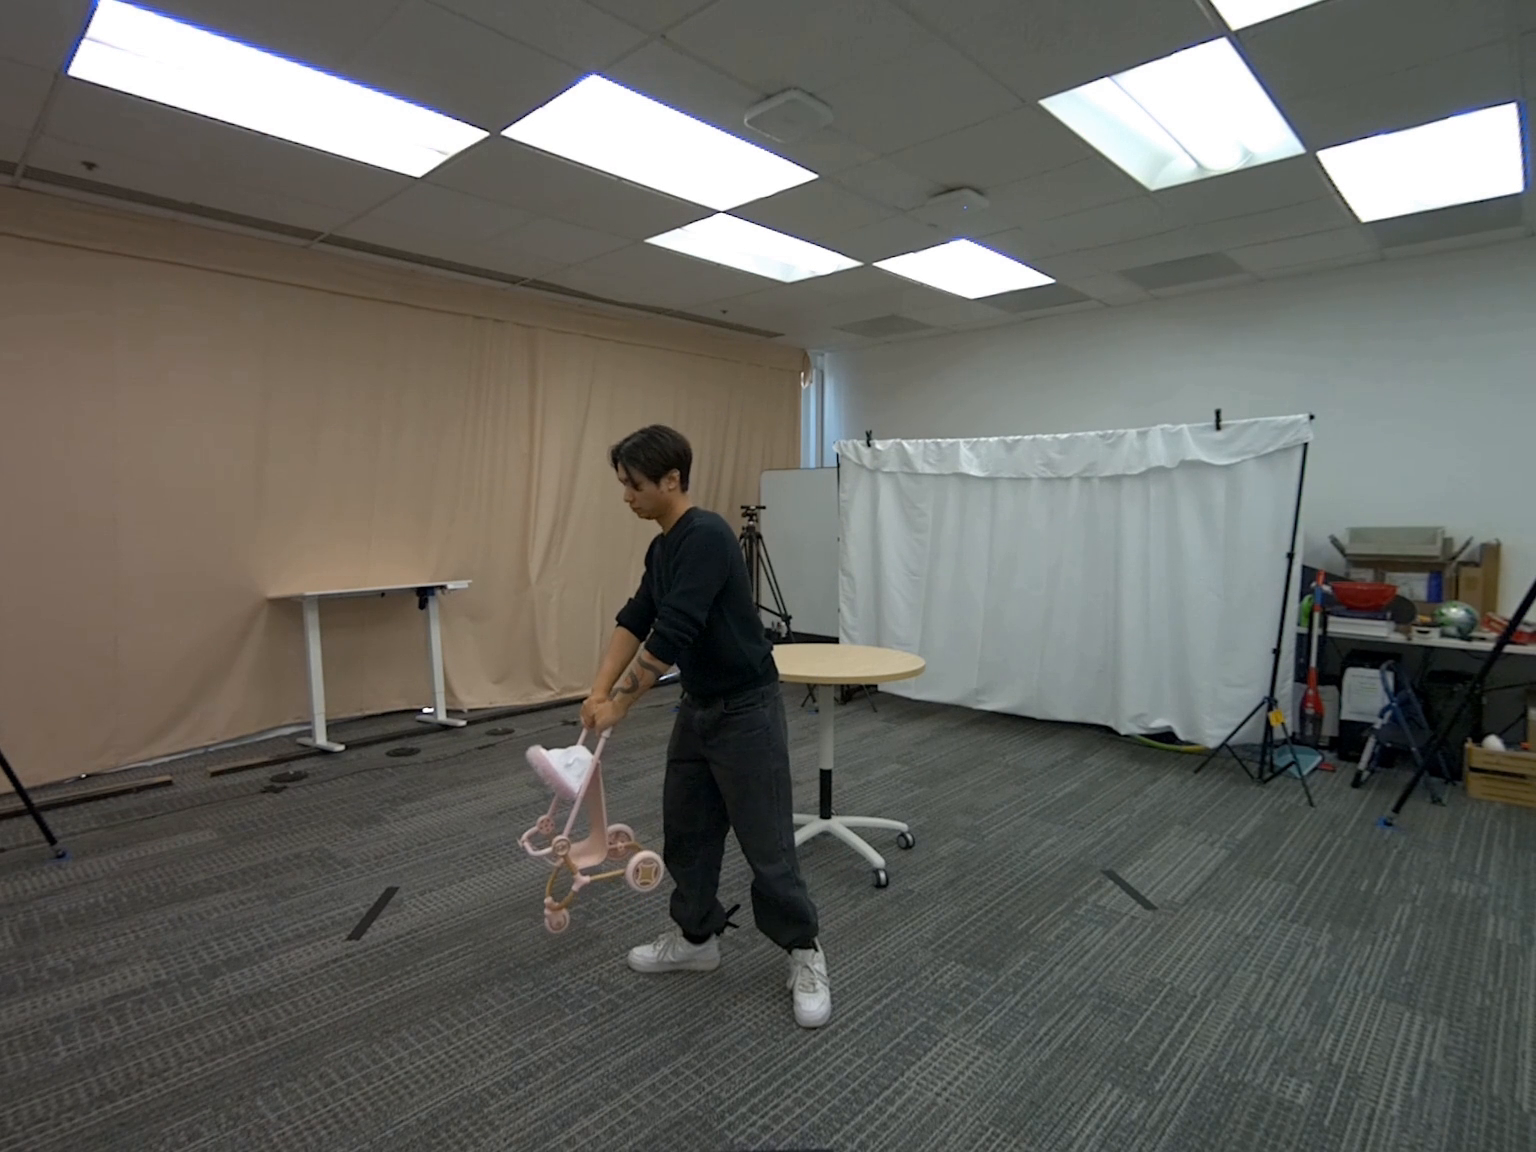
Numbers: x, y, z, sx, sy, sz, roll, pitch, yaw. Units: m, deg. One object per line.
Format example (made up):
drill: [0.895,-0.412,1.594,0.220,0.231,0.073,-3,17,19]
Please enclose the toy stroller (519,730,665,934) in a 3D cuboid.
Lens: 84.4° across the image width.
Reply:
toy stroller: [-0.513,0.676,2.288,0.336,0.532,0.287,-18,7,-20]
